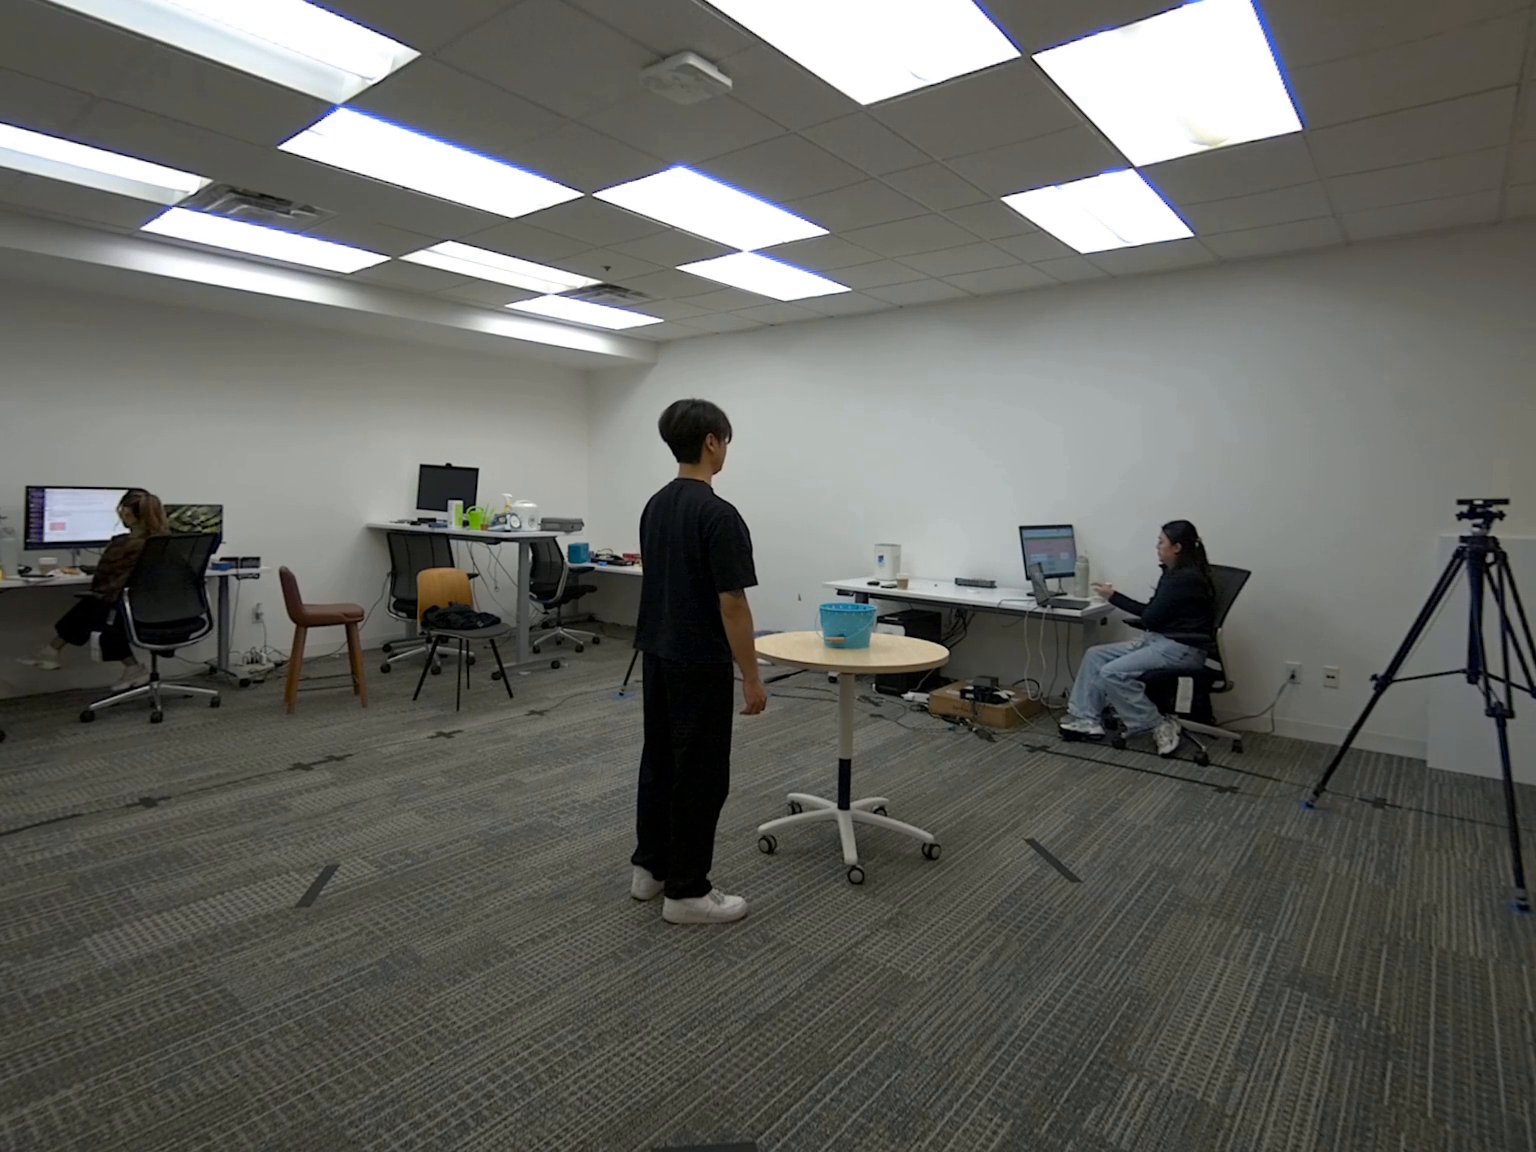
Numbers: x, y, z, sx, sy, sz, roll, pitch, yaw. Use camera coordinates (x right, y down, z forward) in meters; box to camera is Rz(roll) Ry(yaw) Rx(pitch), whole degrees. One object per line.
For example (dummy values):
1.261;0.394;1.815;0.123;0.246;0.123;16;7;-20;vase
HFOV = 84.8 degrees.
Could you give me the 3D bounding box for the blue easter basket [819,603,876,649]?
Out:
0.303;0.196;3.379;0.243;0.155;0.245;1;4;-2;blue easter basket
